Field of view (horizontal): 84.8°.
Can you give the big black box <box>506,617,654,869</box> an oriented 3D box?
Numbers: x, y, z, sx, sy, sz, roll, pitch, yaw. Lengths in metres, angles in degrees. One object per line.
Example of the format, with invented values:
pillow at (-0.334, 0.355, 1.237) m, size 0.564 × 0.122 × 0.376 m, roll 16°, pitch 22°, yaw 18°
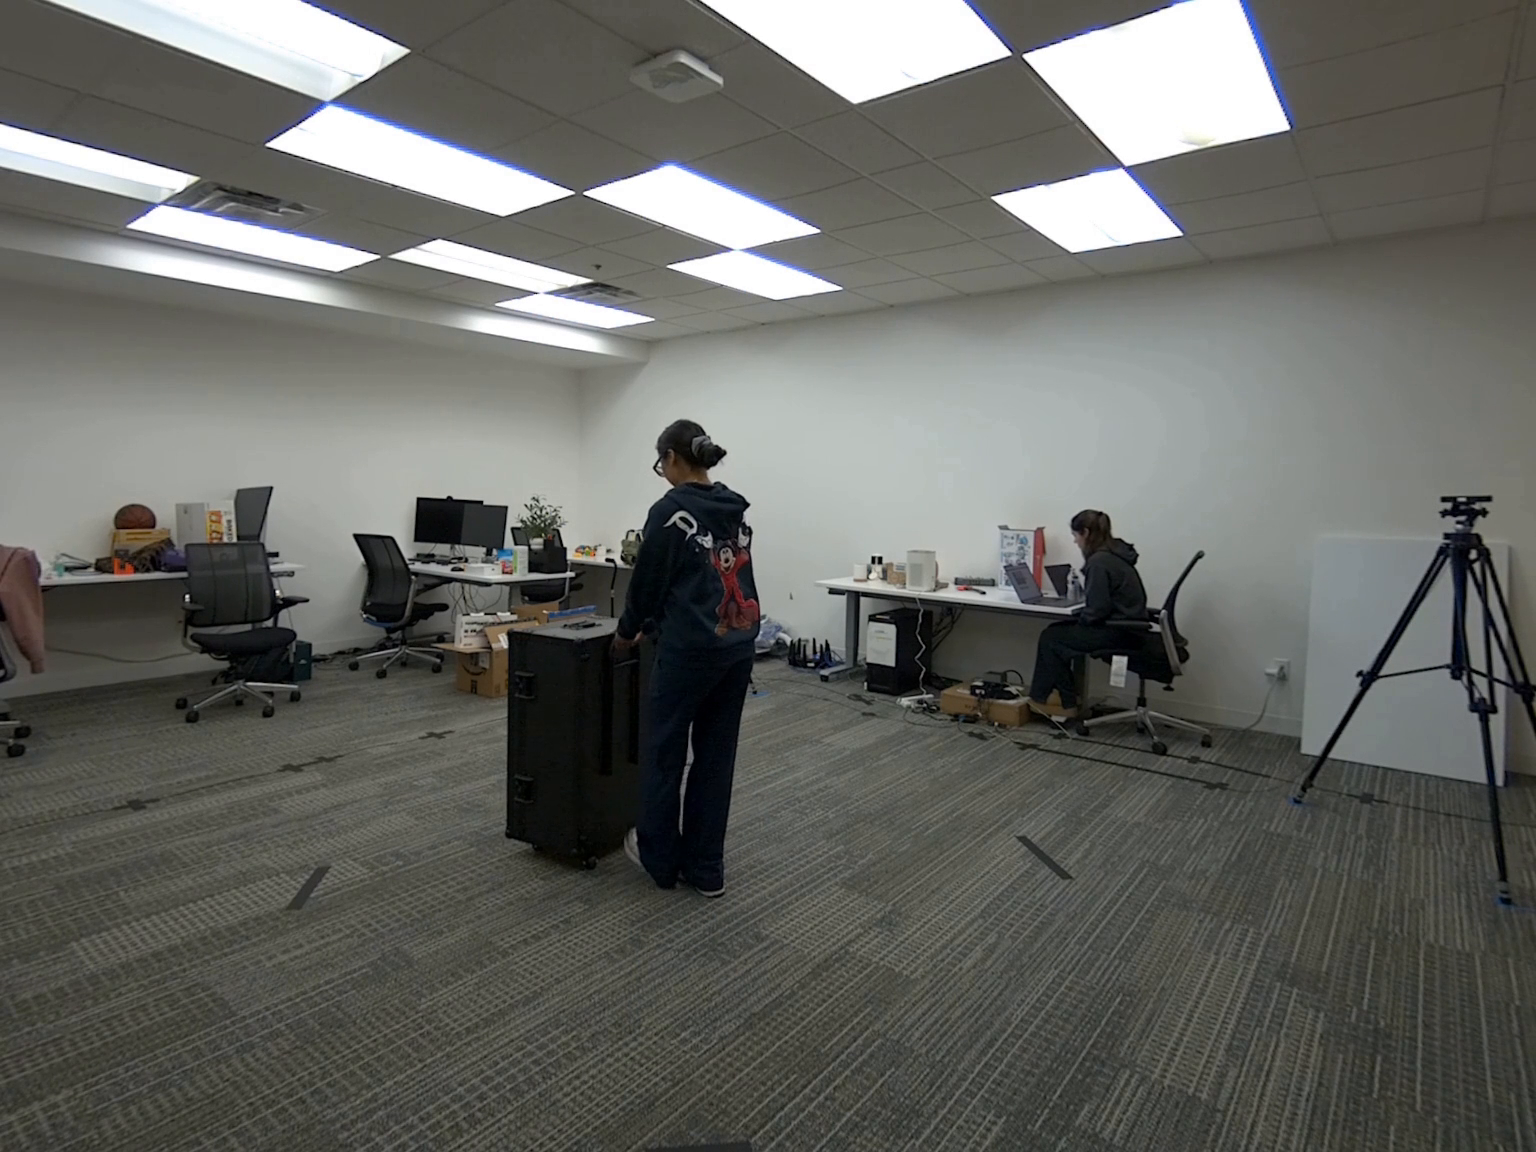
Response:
big black box at (-0.721, 0.628, 3.282) m, size 0.536 × 0.859 × 0.386 m, roll 3°, pitch 3°, yaw 27°
